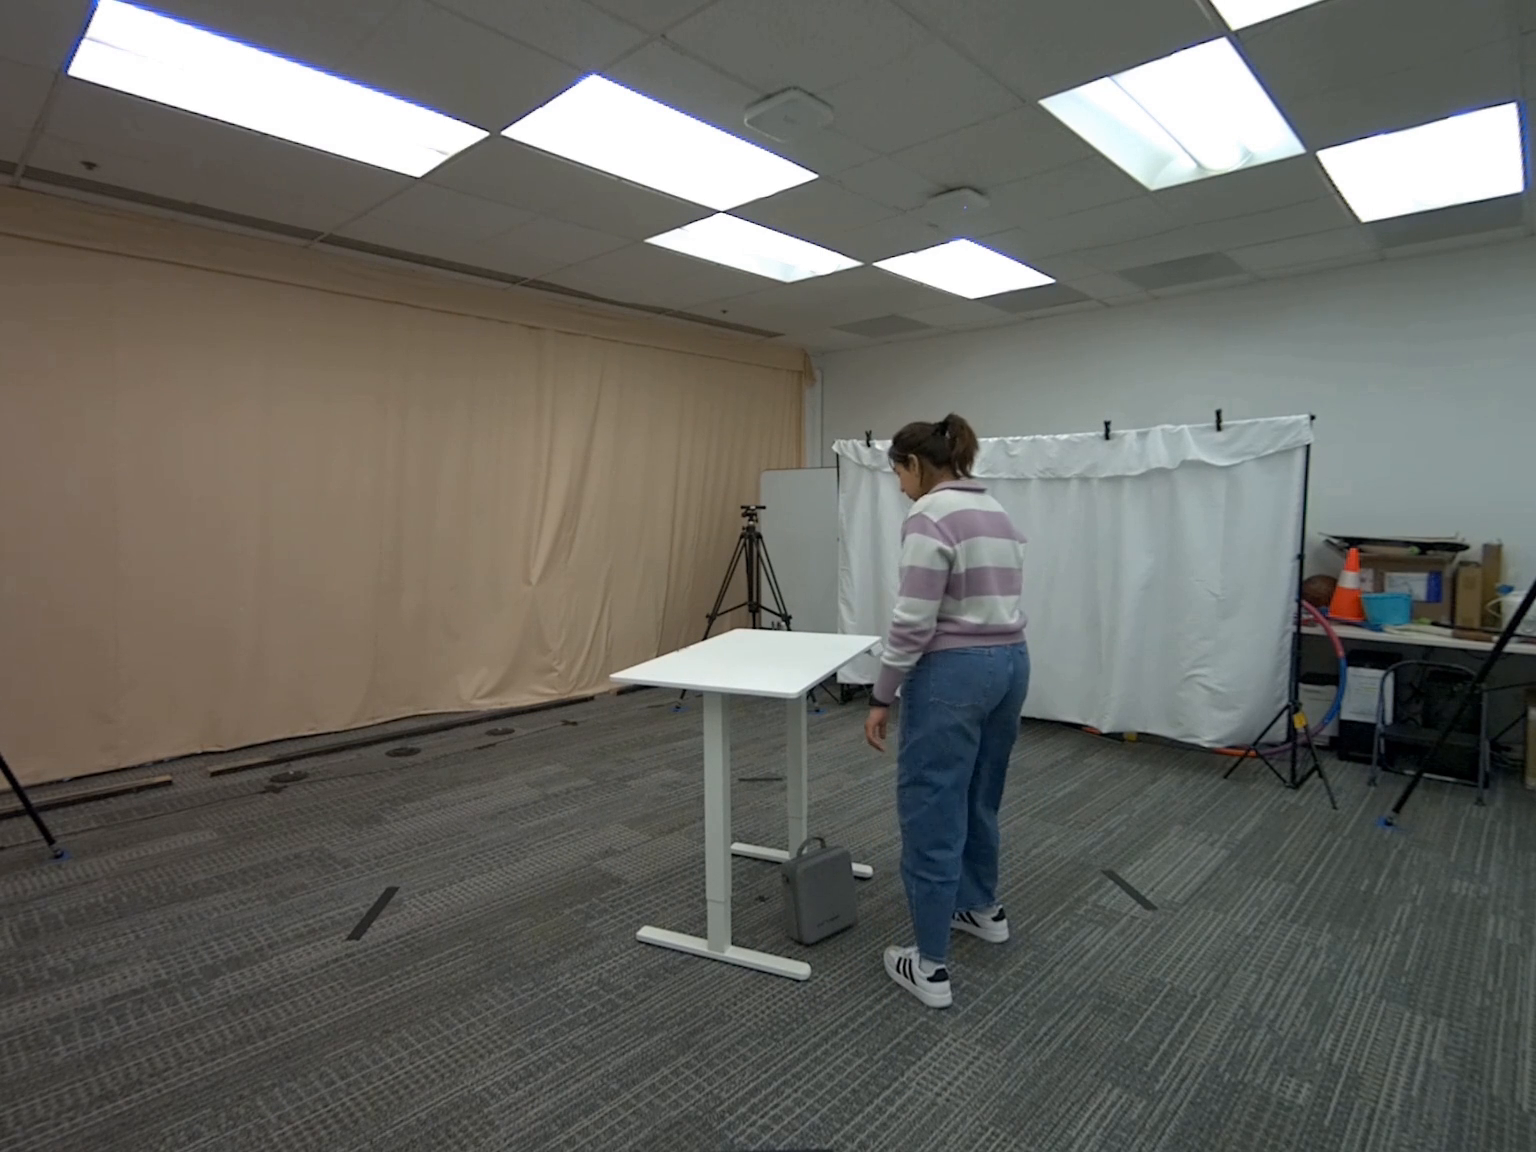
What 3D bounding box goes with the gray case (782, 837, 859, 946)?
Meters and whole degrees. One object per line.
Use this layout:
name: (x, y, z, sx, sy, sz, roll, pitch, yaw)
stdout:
gray case: (0.169, 1.035, 2.750, 0.249, 0.261, 0.107, -4, -3, -39)
